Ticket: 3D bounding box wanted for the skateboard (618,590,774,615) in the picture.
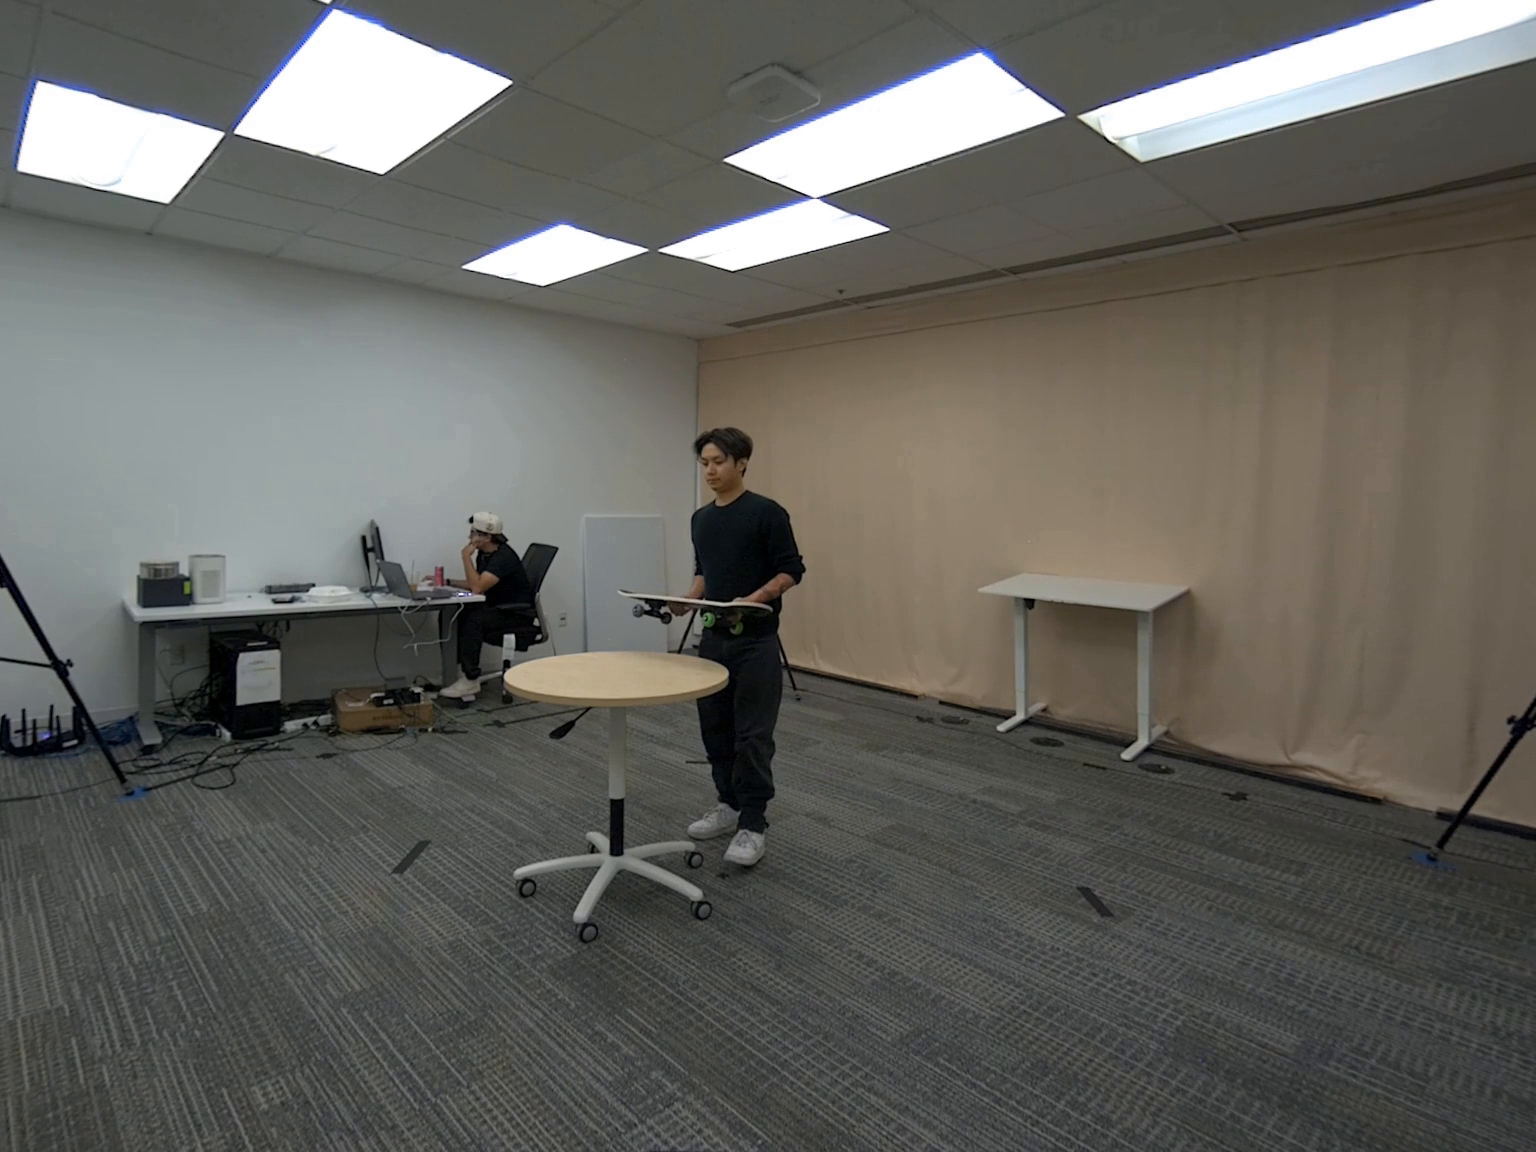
[{"bbox_3d":[-0.305,0.138,3.243,0.805,0.111,0.188,5,-11,44],"label":"skateboard"}]
